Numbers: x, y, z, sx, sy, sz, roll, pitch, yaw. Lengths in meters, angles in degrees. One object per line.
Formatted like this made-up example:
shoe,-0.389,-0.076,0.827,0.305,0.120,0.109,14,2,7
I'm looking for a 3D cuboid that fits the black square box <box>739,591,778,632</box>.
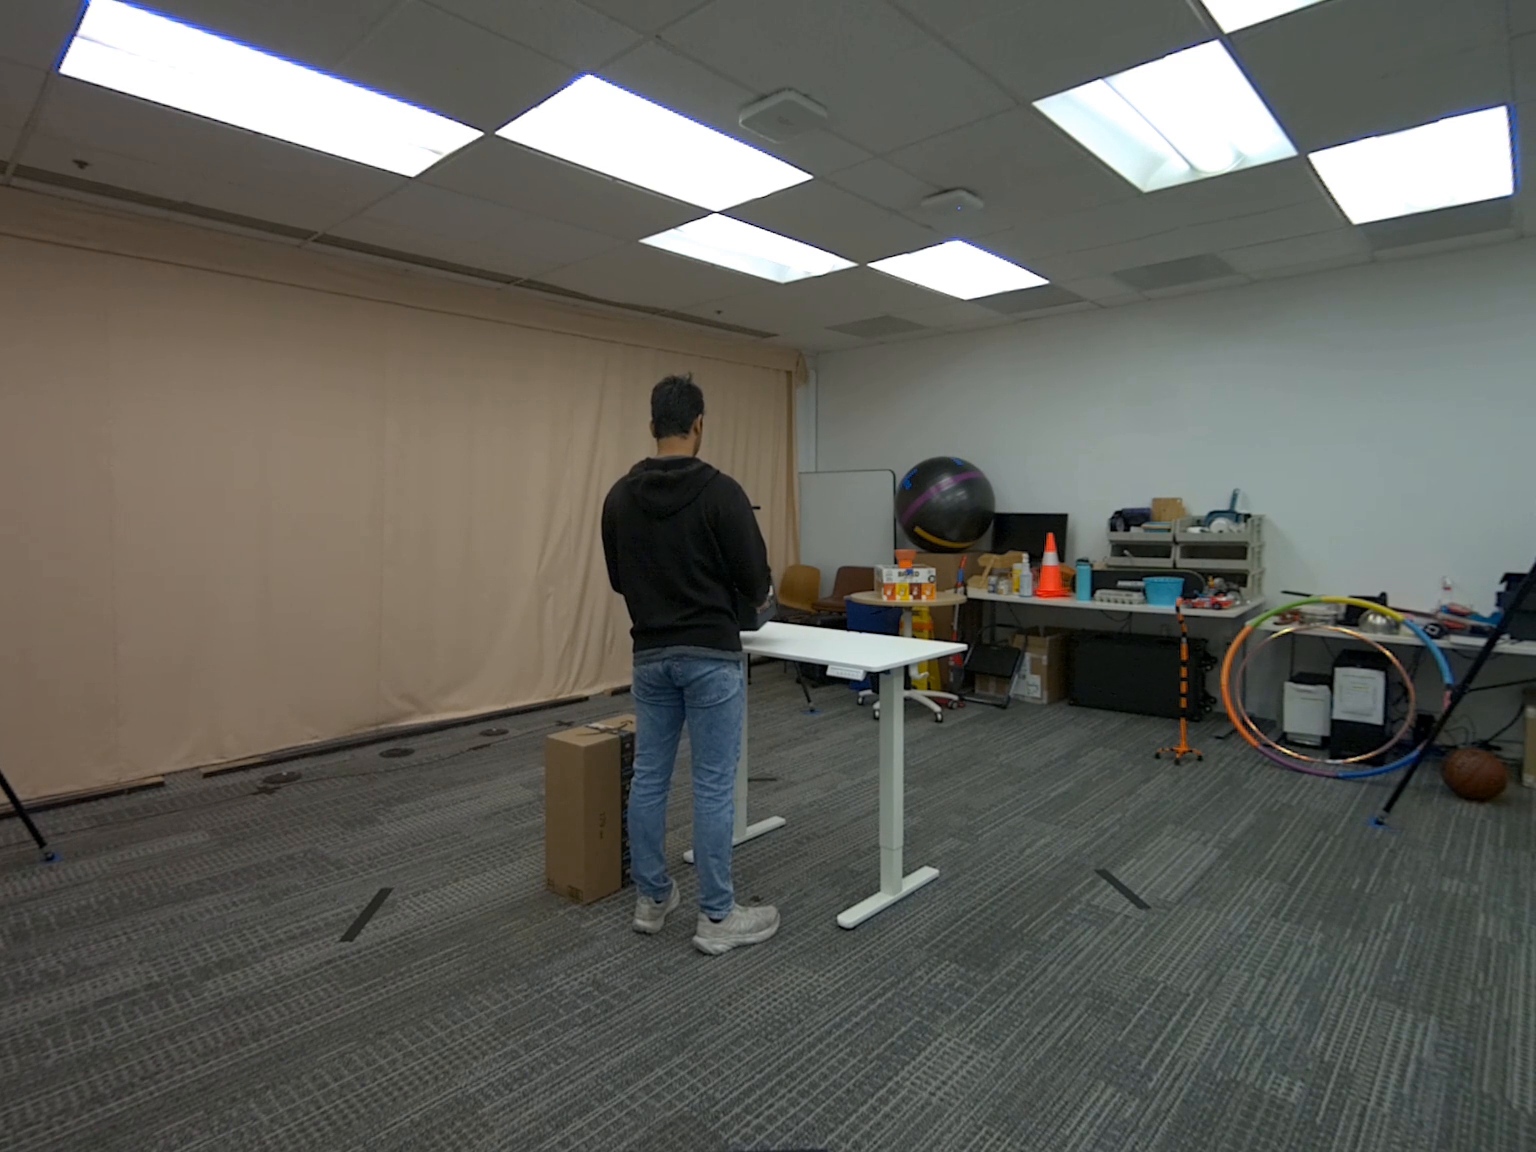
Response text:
black square box,-0.116,0.109,3.172,0.233,0.155,0.214,-3,12,21
